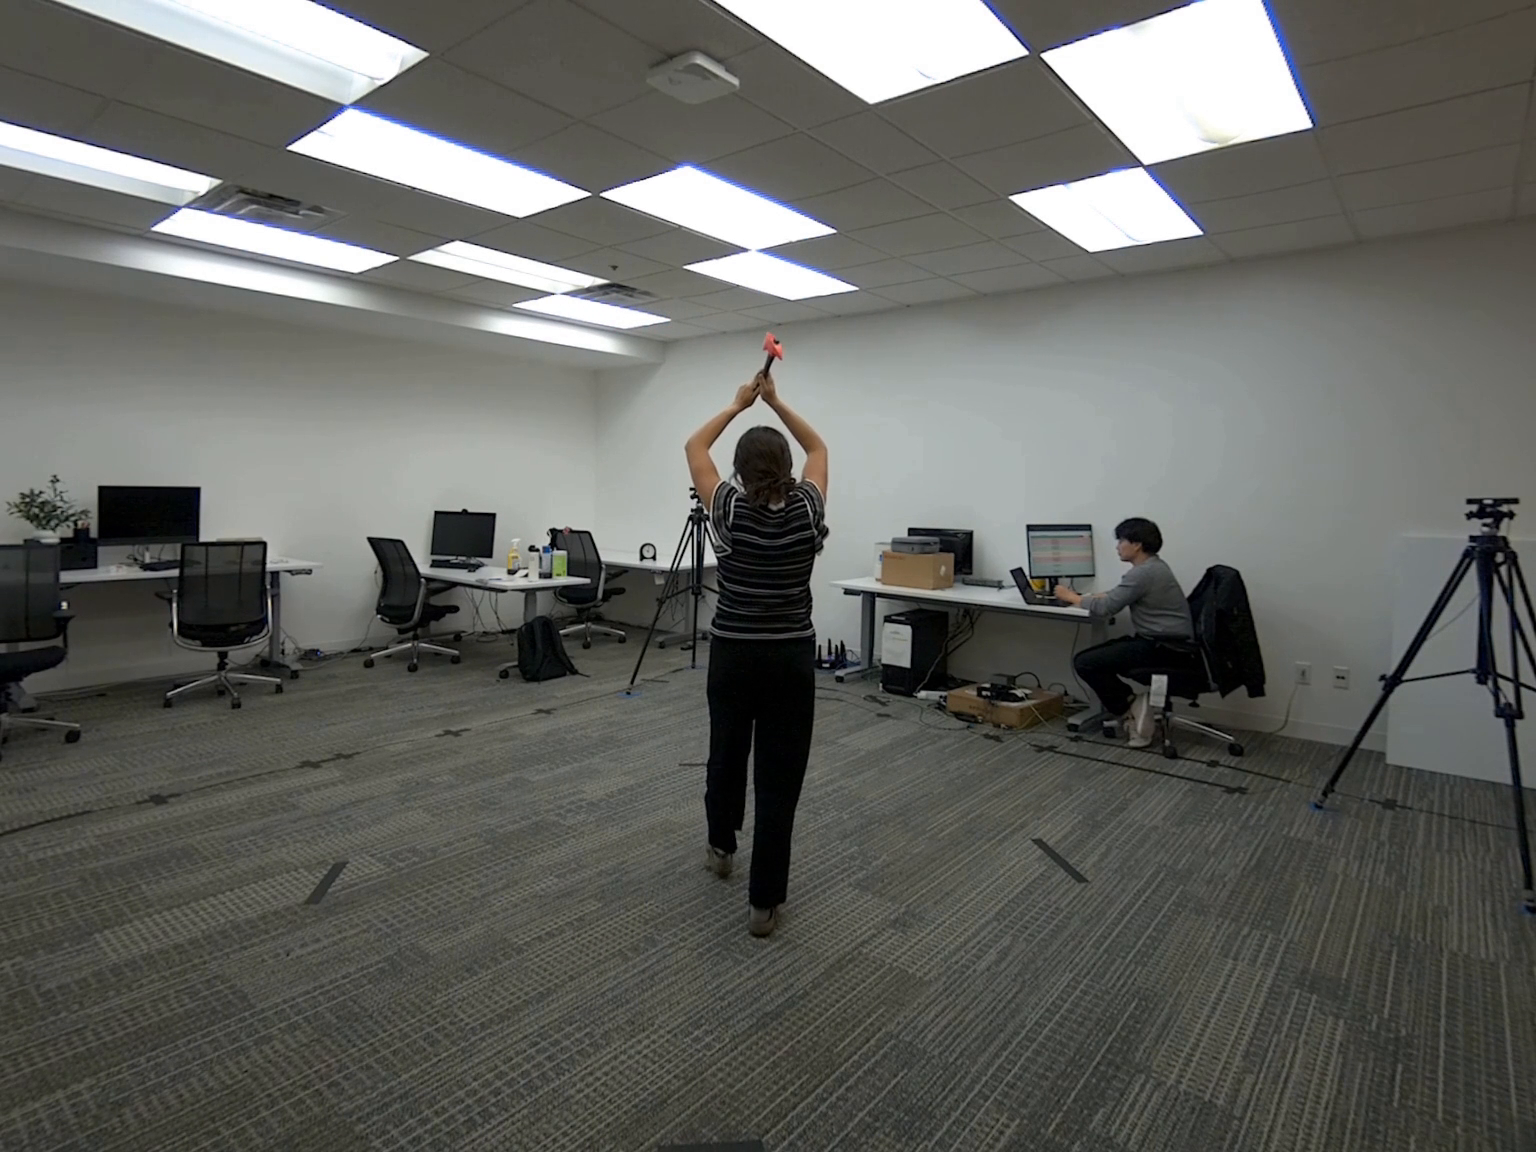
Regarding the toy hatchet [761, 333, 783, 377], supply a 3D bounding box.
[{"bbox_3d":[-0.031,-0.718,2.876,0.029,0.134,0.271,-5,-19,-29],"label":"toy hatchet"}]
